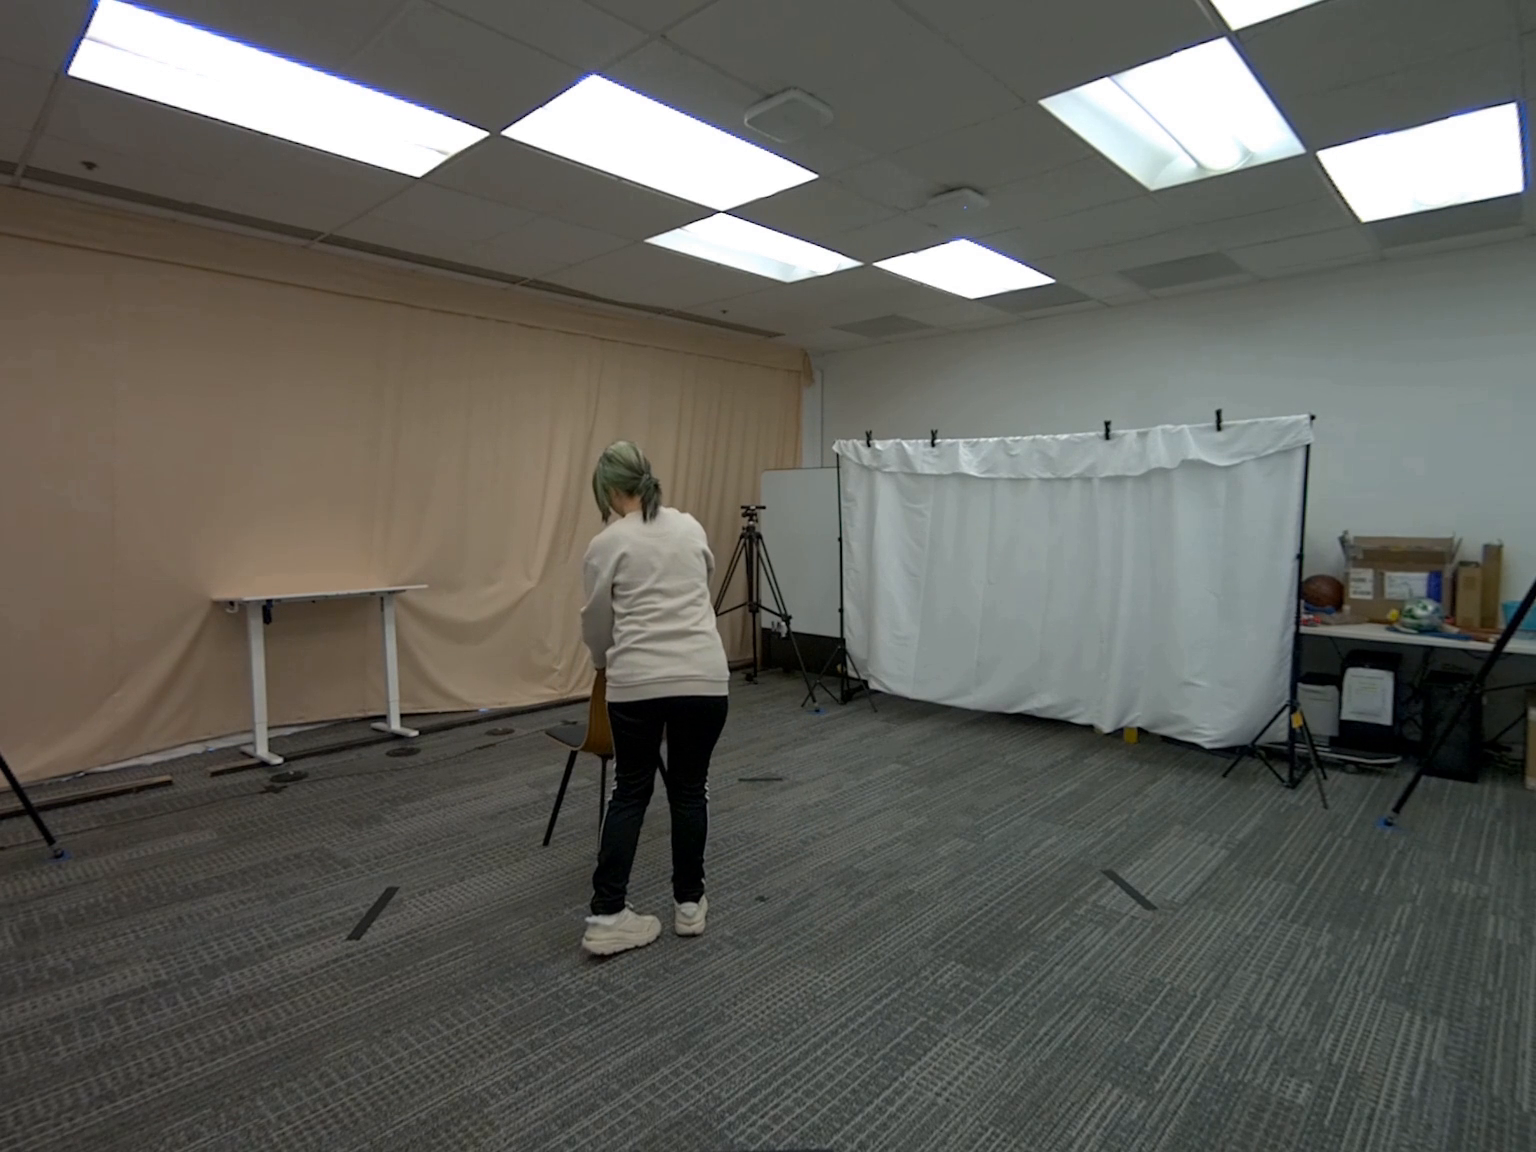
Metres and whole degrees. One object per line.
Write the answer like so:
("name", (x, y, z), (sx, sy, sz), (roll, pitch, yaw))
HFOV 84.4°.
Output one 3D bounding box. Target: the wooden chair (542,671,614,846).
("wooden chair", (-0.618, 0.683, 3.404), (0.464, 0.874, 0.541), (-4, 9, -40))
